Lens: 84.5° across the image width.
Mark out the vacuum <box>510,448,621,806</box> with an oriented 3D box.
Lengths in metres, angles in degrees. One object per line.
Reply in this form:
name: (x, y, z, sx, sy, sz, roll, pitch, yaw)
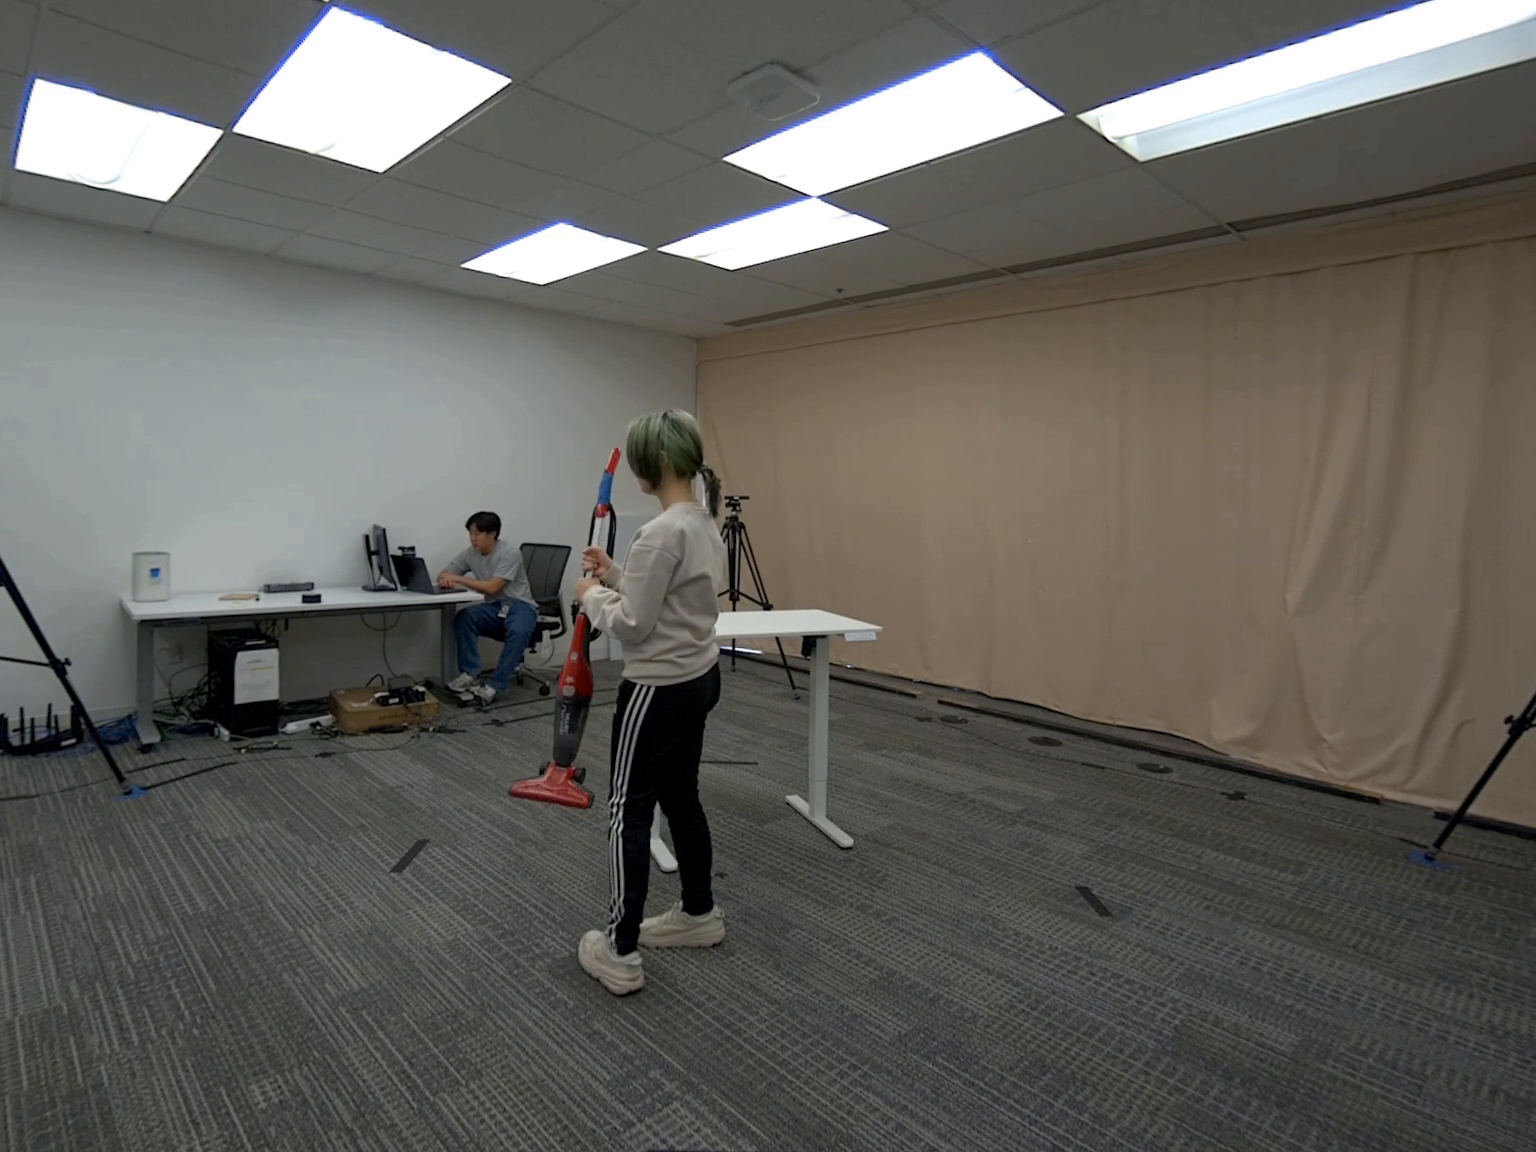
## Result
vacuum: (-0.561, 0.116, 2.601, 0.251, 1.056, 0.144, 8, -10, -6)
